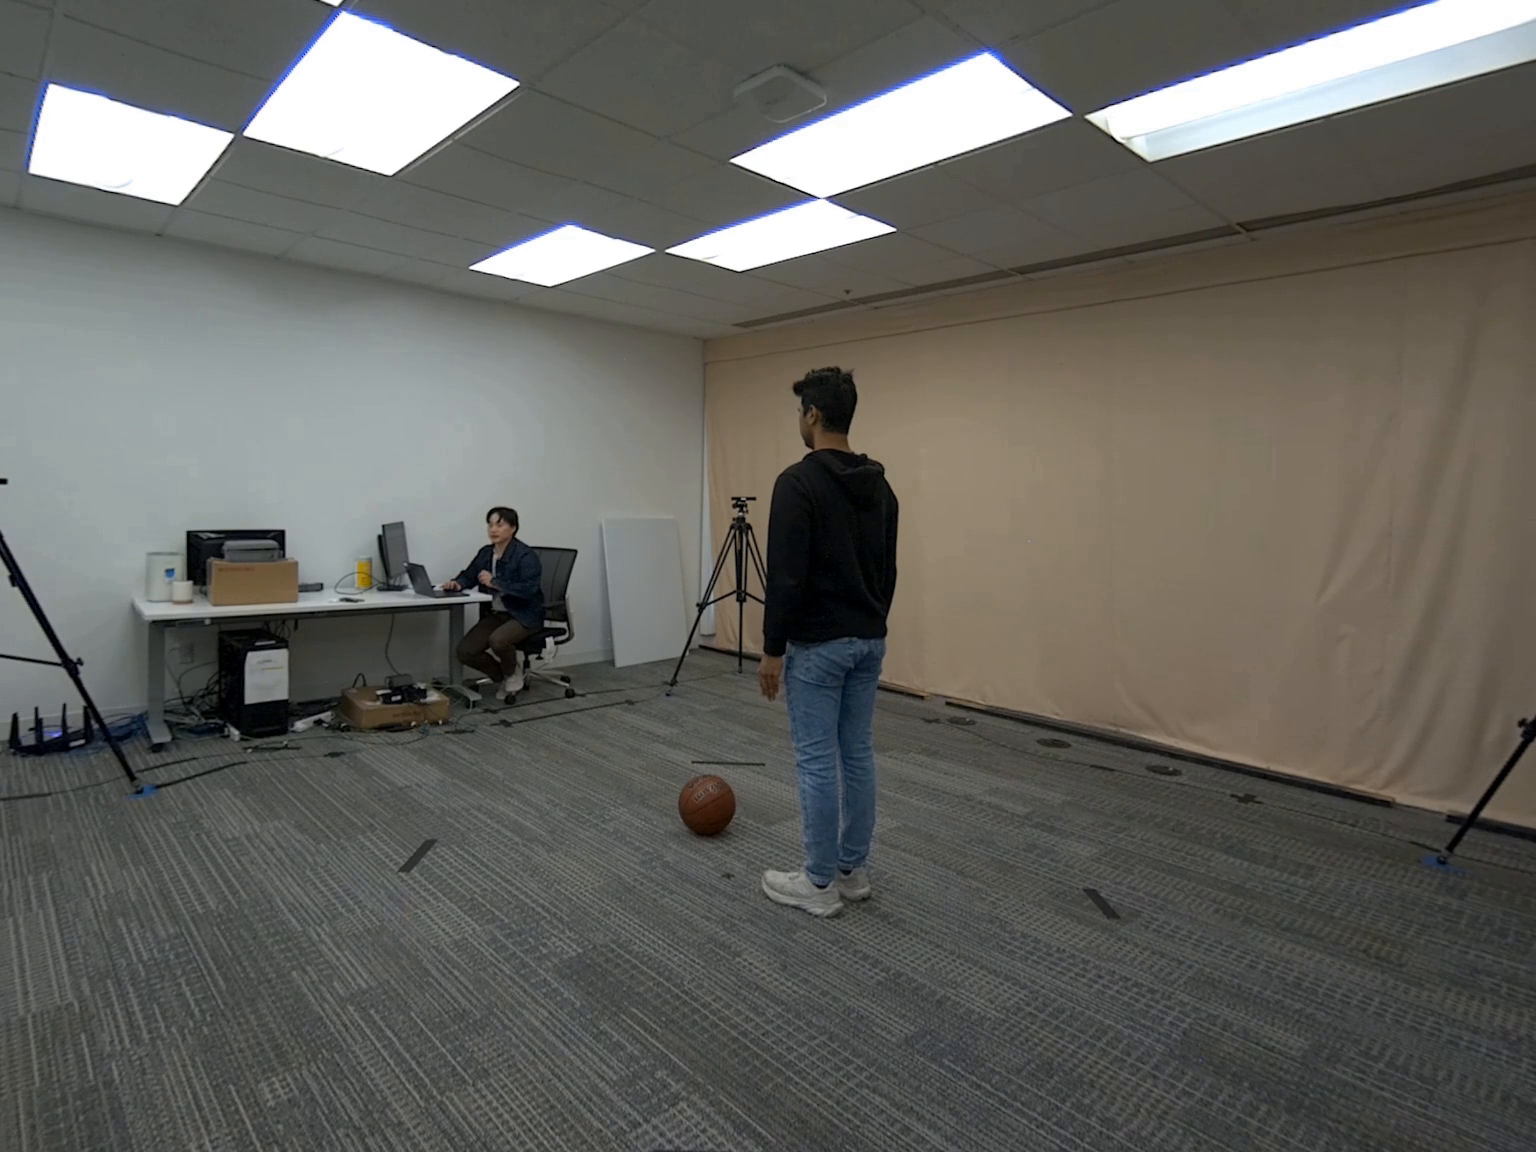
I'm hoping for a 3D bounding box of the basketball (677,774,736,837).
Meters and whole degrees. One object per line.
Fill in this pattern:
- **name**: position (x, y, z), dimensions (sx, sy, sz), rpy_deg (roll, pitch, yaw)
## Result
- **basketball**: position (-0.257, 0.947, 3.497), dimensions (0.236, 0.235, 0.237), rpy_deg (1, 4, -1)
